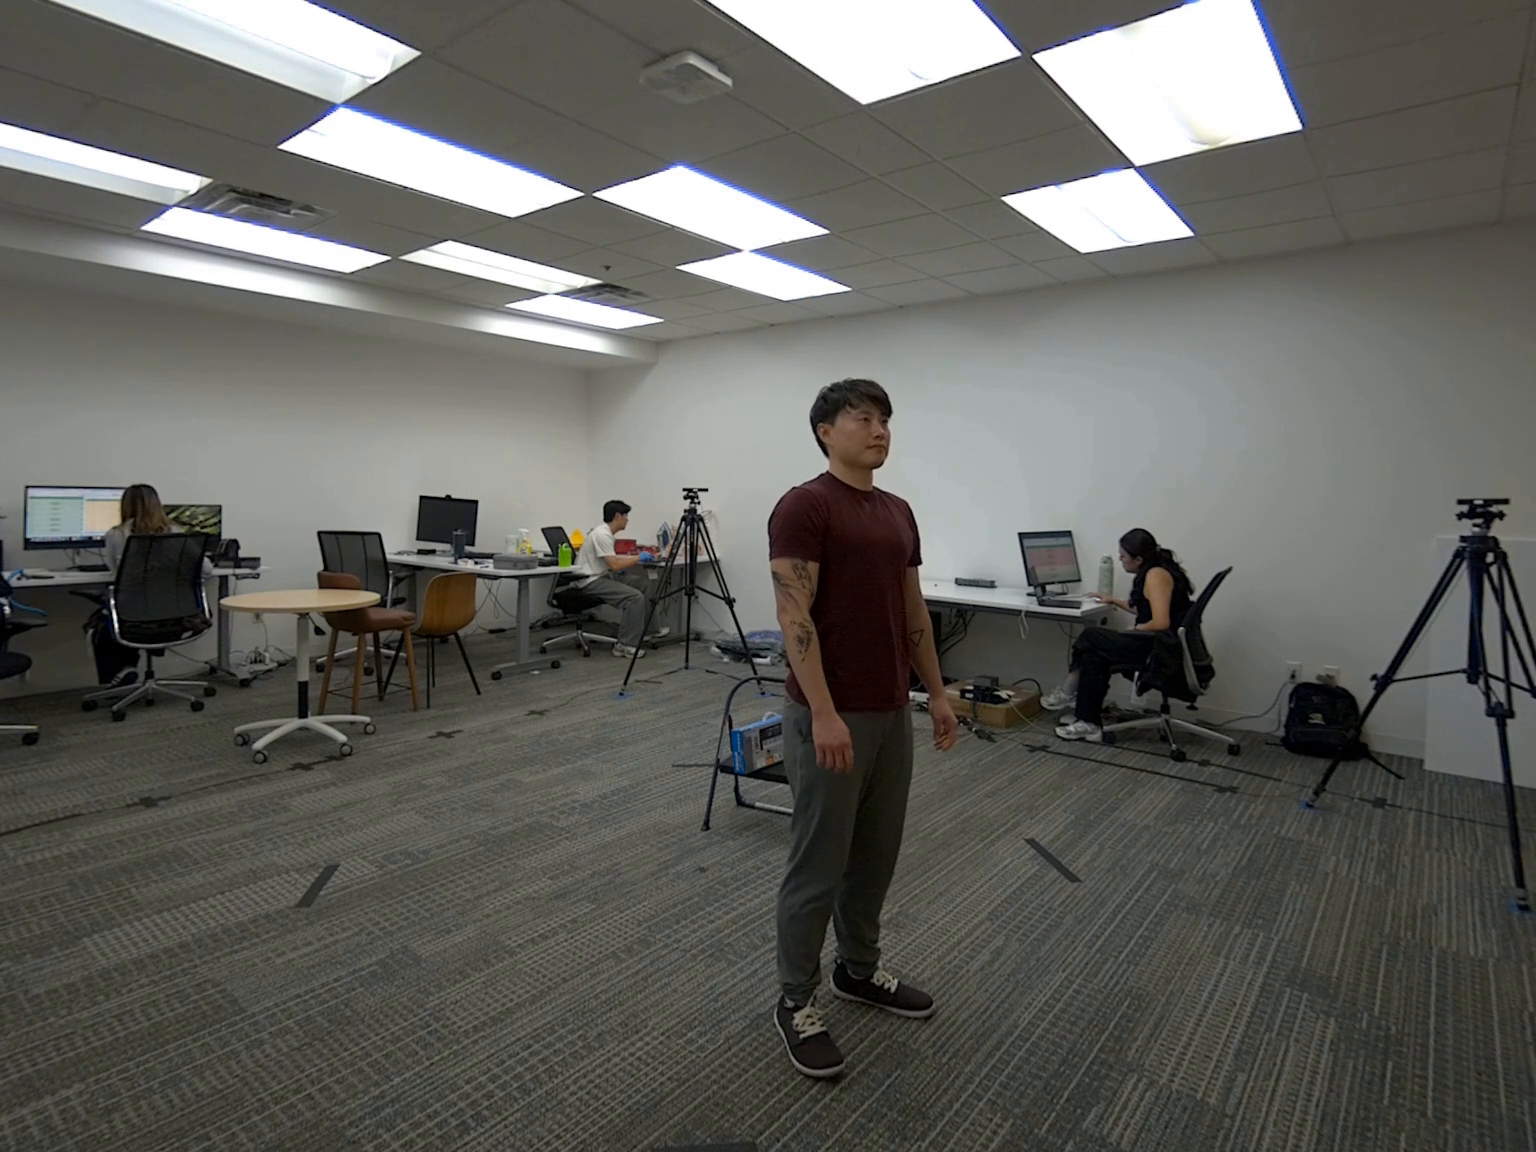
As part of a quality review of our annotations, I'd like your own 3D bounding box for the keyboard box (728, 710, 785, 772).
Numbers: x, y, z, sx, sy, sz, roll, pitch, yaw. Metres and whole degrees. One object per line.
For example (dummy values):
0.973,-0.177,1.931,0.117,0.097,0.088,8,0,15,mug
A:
0.008,0.679,3.533,0.061,0.176,0.424,-7,-1,41,keyboard box
